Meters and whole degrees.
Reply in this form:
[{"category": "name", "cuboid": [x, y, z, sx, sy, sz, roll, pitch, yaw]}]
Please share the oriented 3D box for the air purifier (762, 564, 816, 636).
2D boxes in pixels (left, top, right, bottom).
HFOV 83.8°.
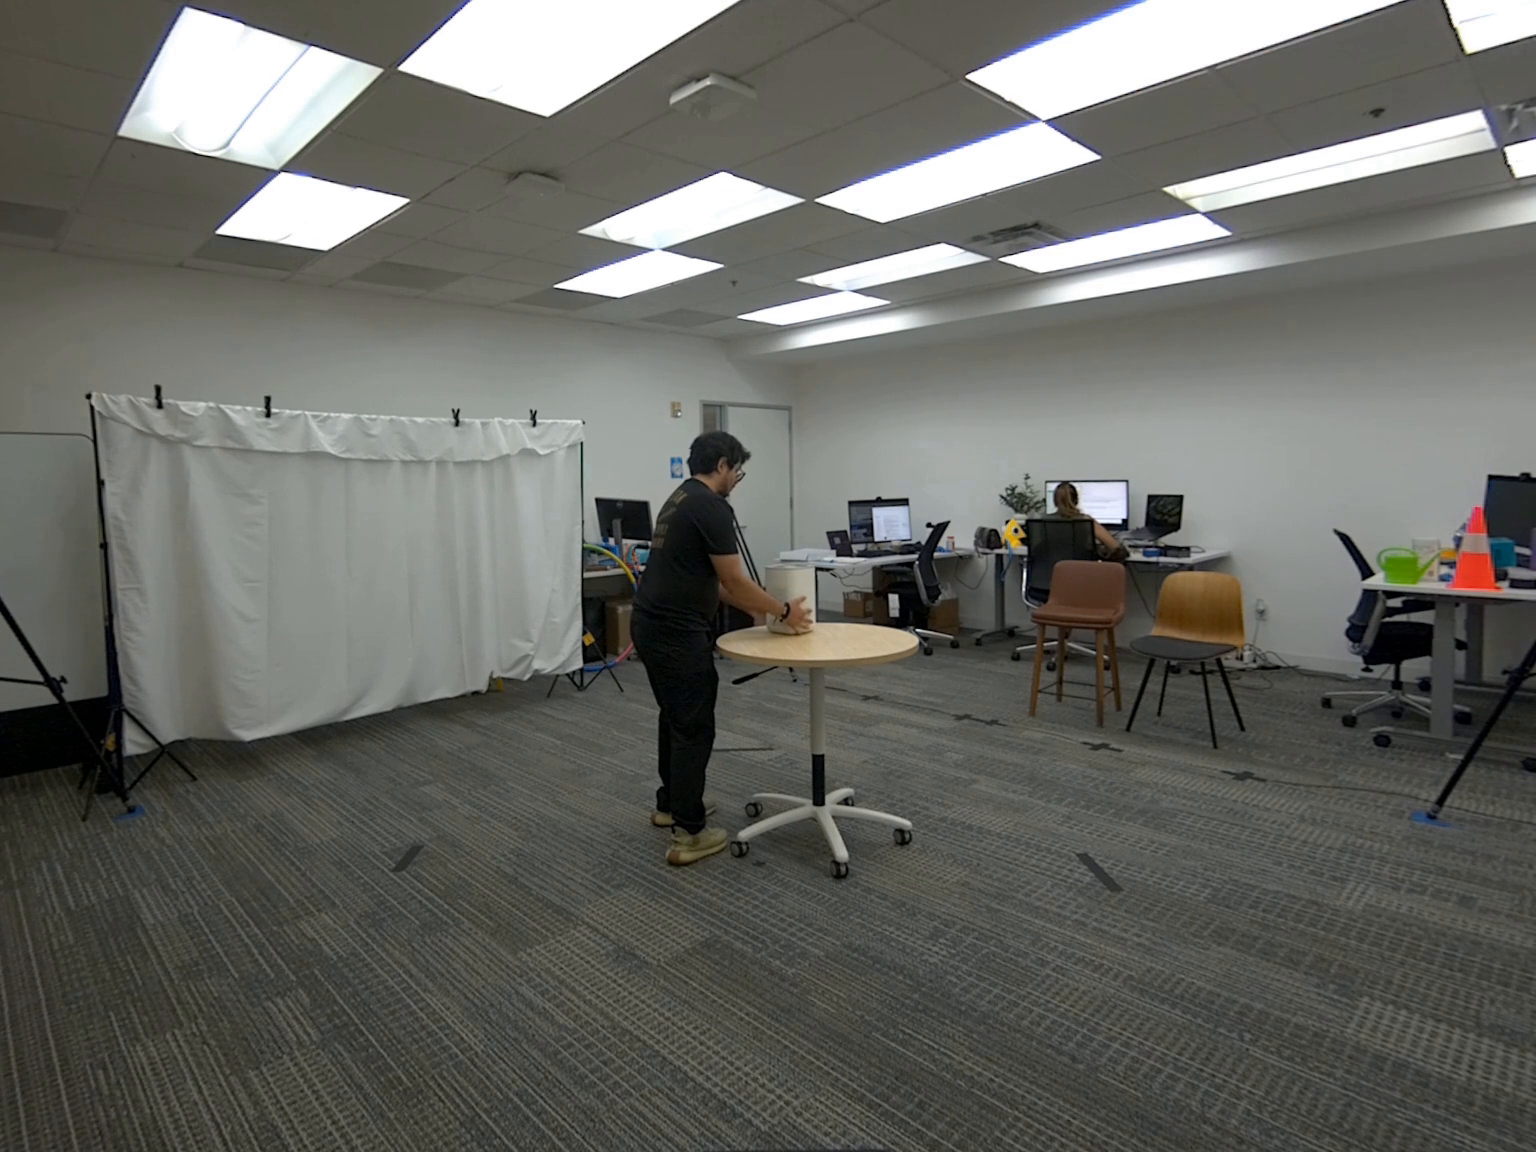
[{"category": "air purifier", "cuboid": [0.089, 0.090, 3.444, 0.177, 0.265, 0.166, 2, 4, 42]}]
